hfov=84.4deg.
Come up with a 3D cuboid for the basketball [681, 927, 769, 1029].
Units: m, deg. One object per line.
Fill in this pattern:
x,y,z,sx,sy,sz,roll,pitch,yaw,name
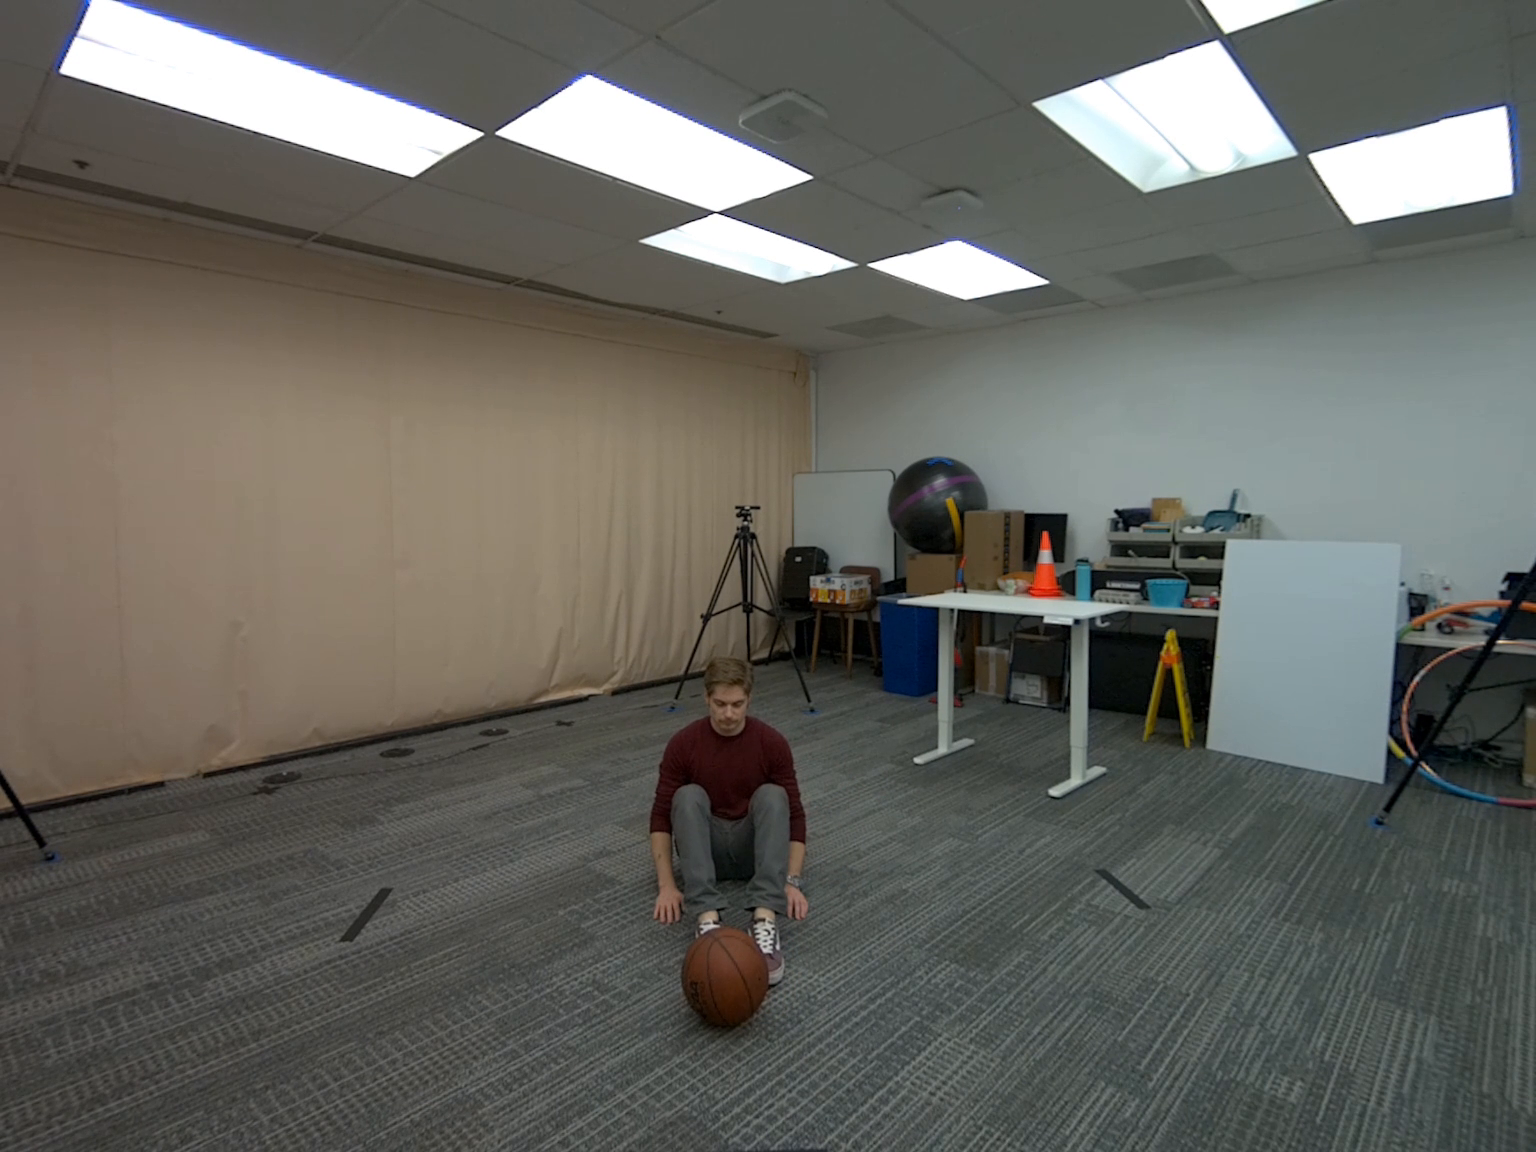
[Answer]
-0.120,1.077,2.287,0.236,0.235,0.237,0,4,-2,basketball
